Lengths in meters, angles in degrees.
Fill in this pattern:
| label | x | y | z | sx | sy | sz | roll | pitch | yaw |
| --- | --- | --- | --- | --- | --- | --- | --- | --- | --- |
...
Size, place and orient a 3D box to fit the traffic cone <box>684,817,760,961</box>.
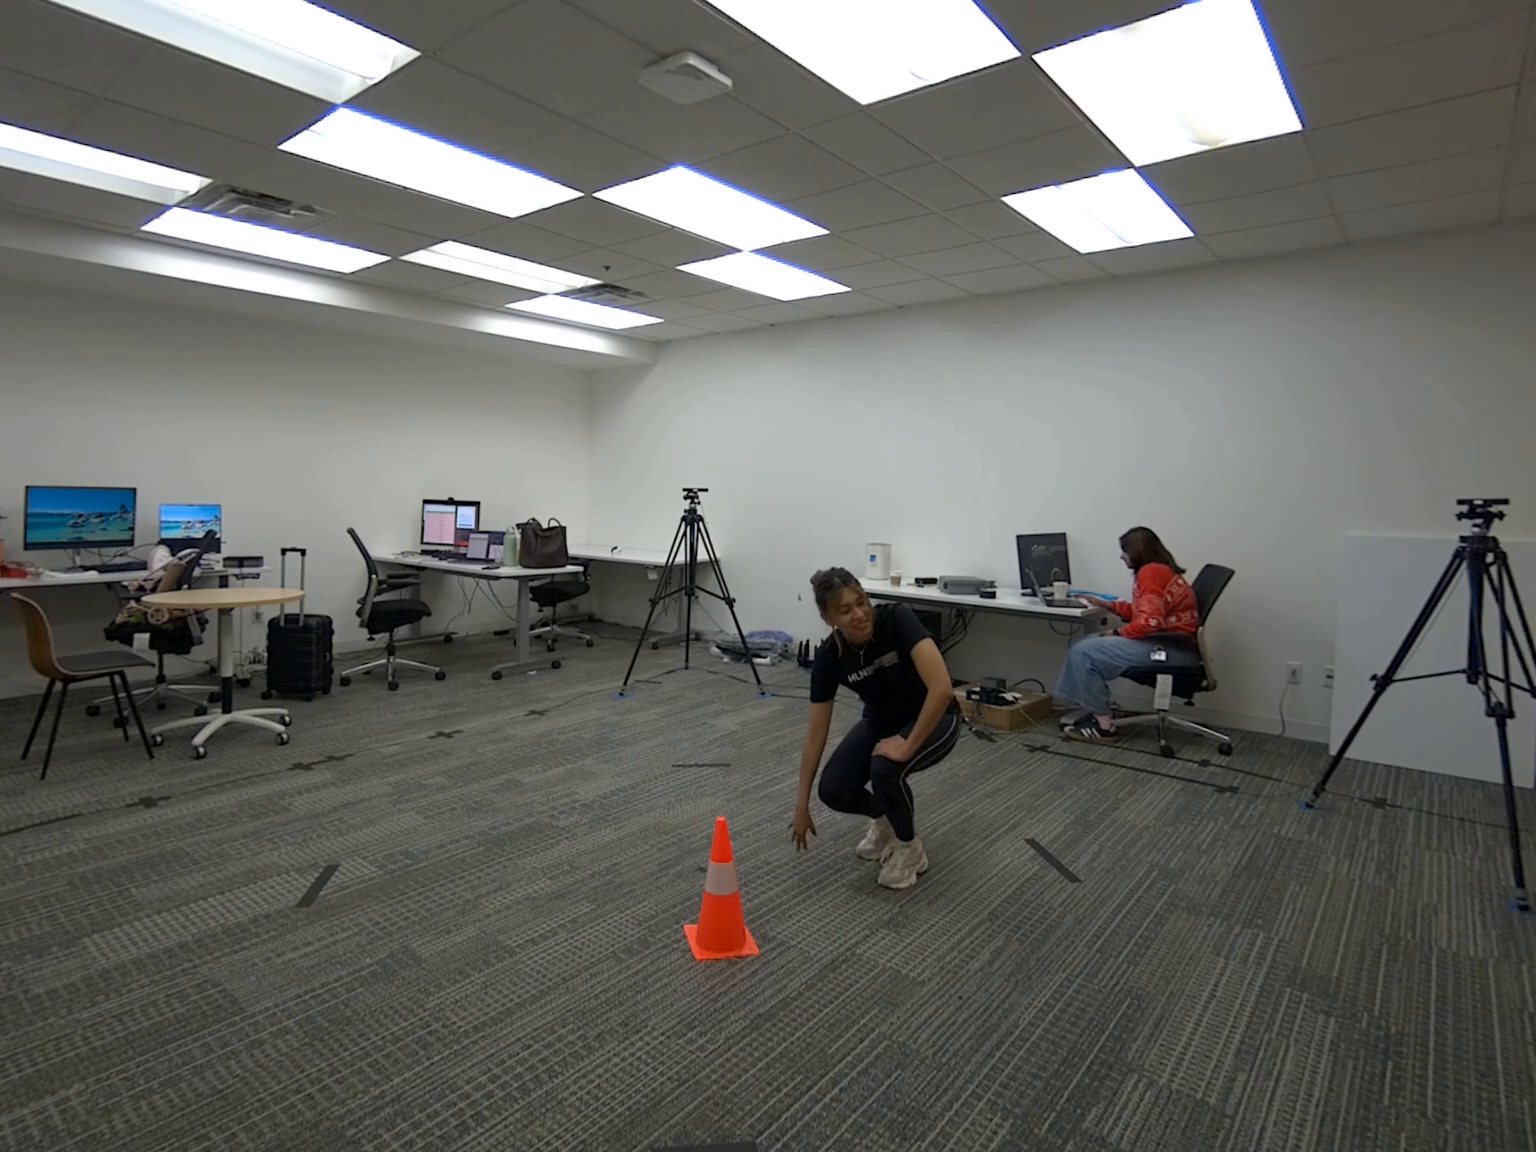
| label | x | y | z | sx | sy | sz | roll | pitch | yaw |
| --- | --- | --- | --- | --- | --- | --- | --- | --- | --- |
| traffic cone | -0.146 | 0.935 | 2.602 | 0.202 | 0.382 | 0.207 | 2 | 5 | -14 |
